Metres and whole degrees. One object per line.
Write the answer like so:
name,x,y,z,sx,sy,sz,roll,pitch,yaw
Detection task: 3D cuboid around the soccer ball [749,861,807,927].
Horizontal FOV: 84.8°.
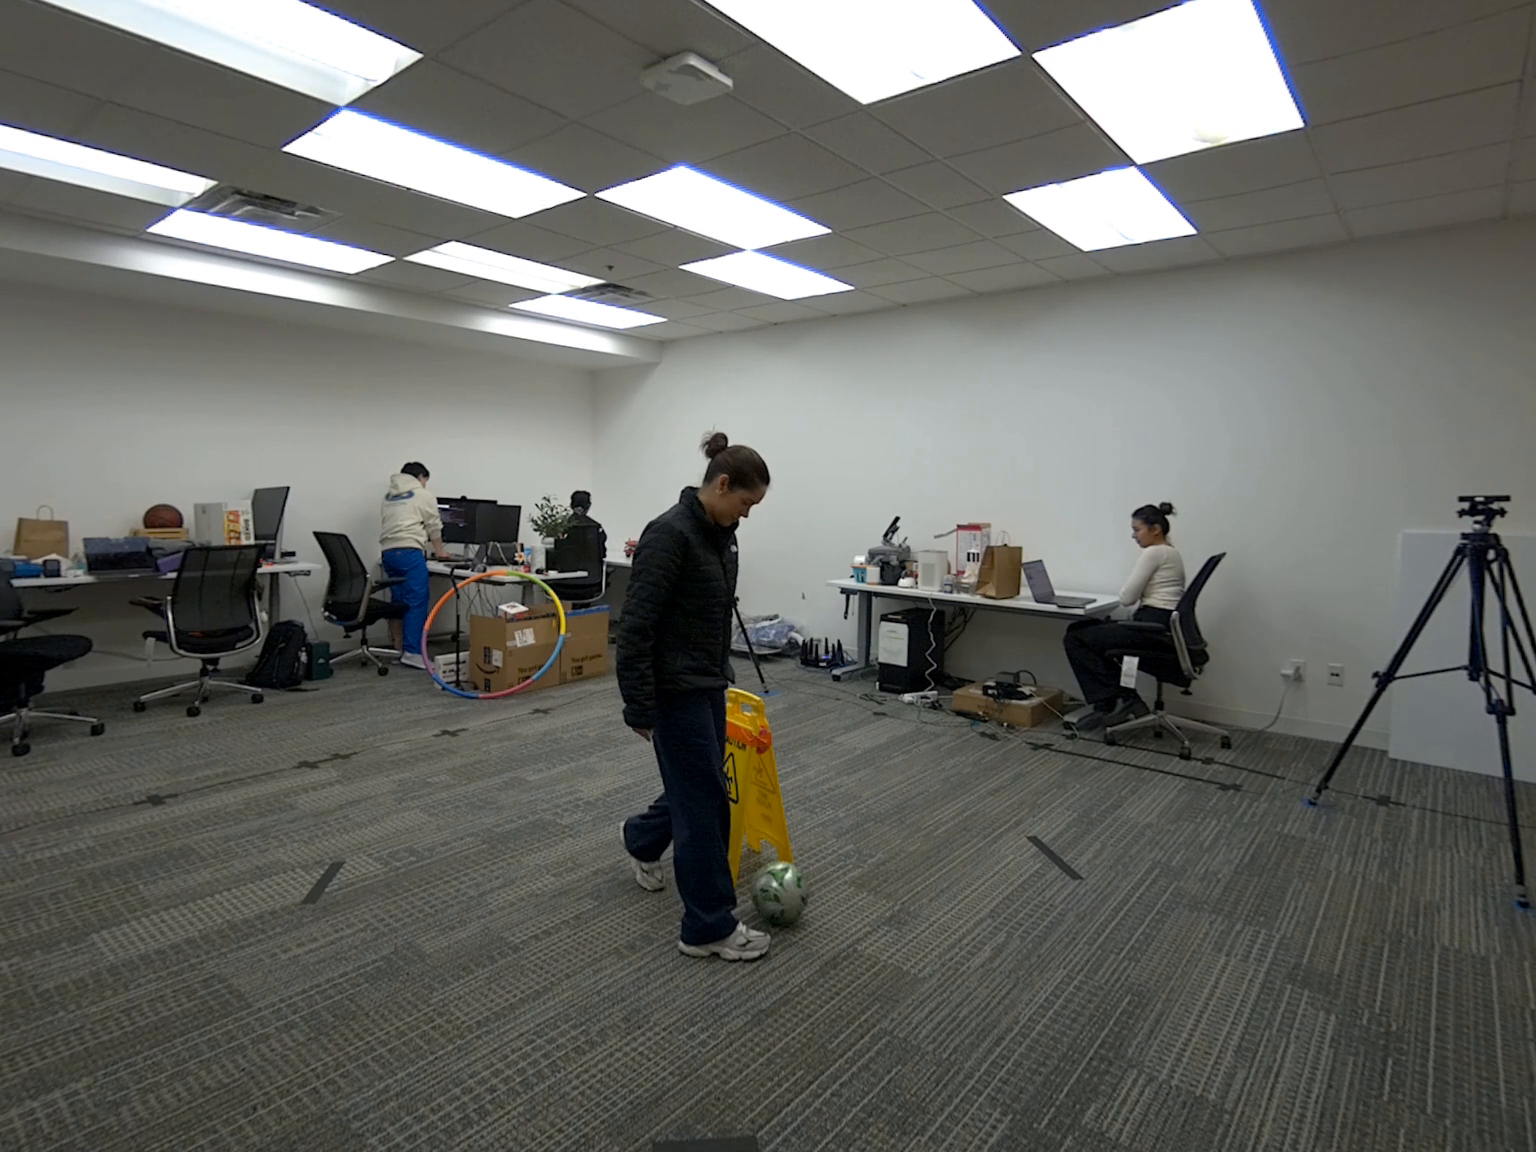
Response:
soccer ball,0.033,1.013,2.737,0.187,0.187,0.188,1,4,-2
